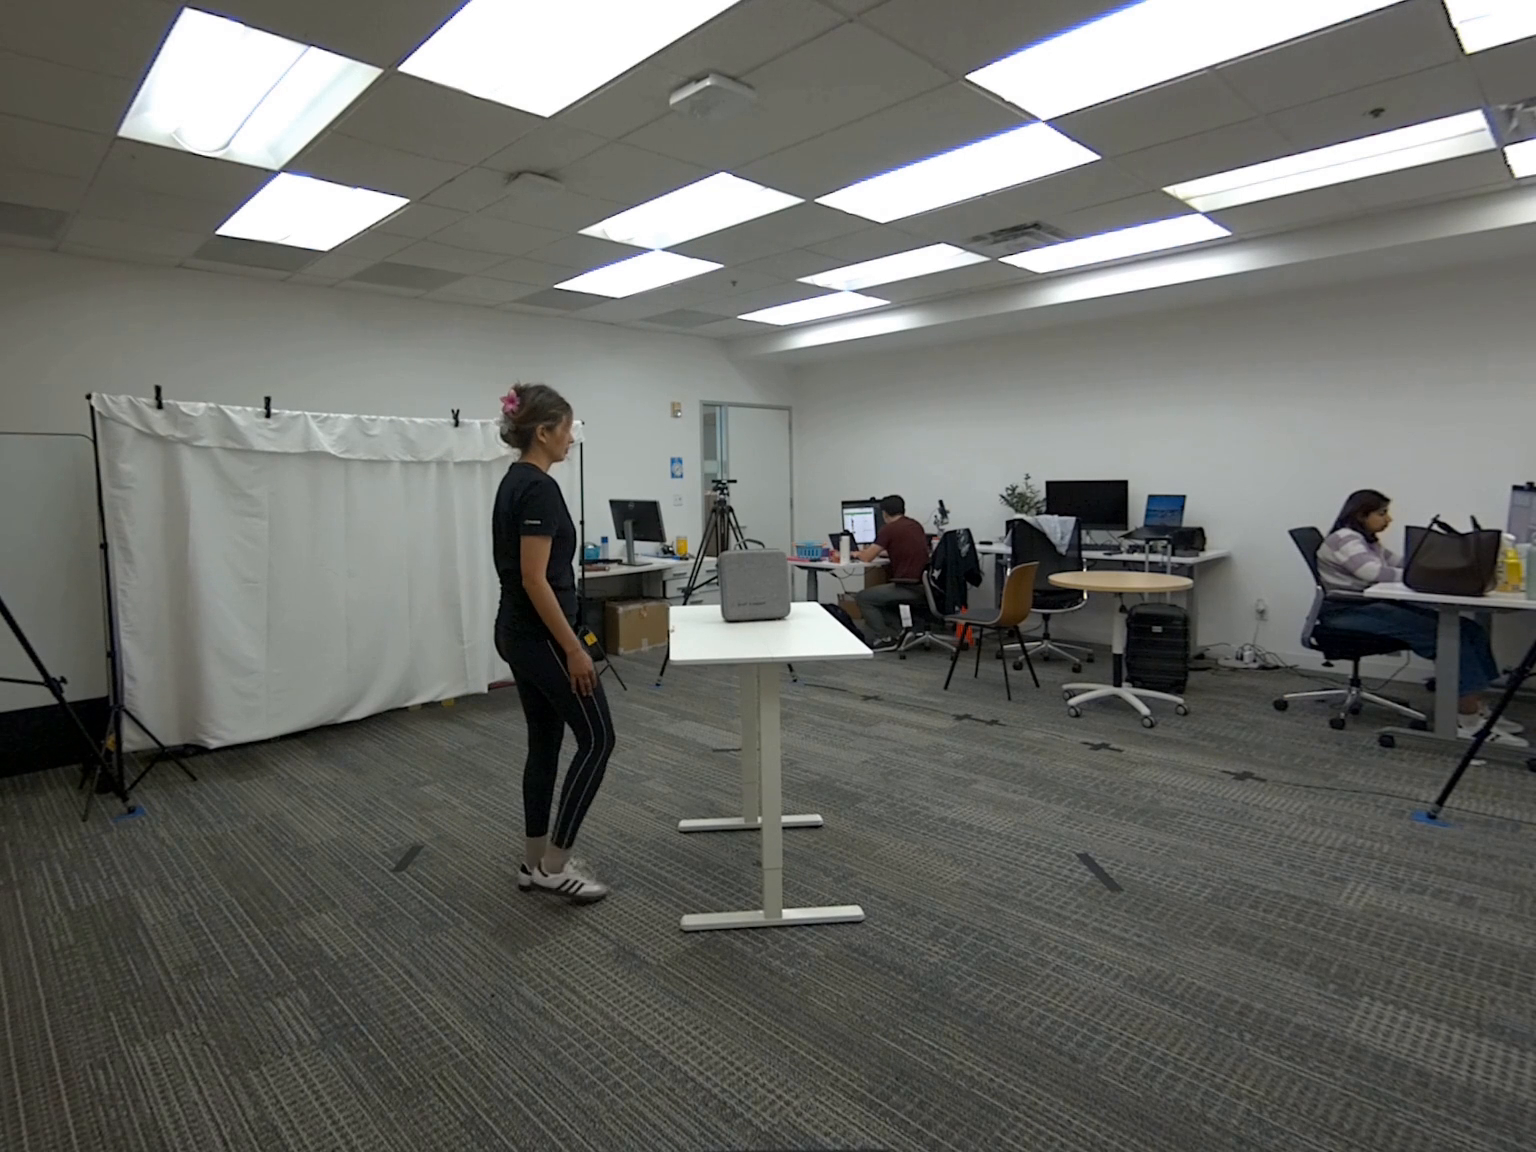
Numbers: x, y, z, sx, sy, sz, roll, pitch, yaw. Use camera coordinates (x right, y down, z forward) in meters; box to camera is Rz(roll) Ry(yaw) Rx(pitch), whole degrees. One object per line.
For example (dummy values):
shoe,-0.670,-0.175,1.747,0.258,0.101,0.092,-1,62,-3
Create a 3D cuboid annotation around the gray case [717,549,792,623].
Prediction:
gray case,-0.050,0.028,3.139,0.254,0.262,0.105,-2,-6,-13
